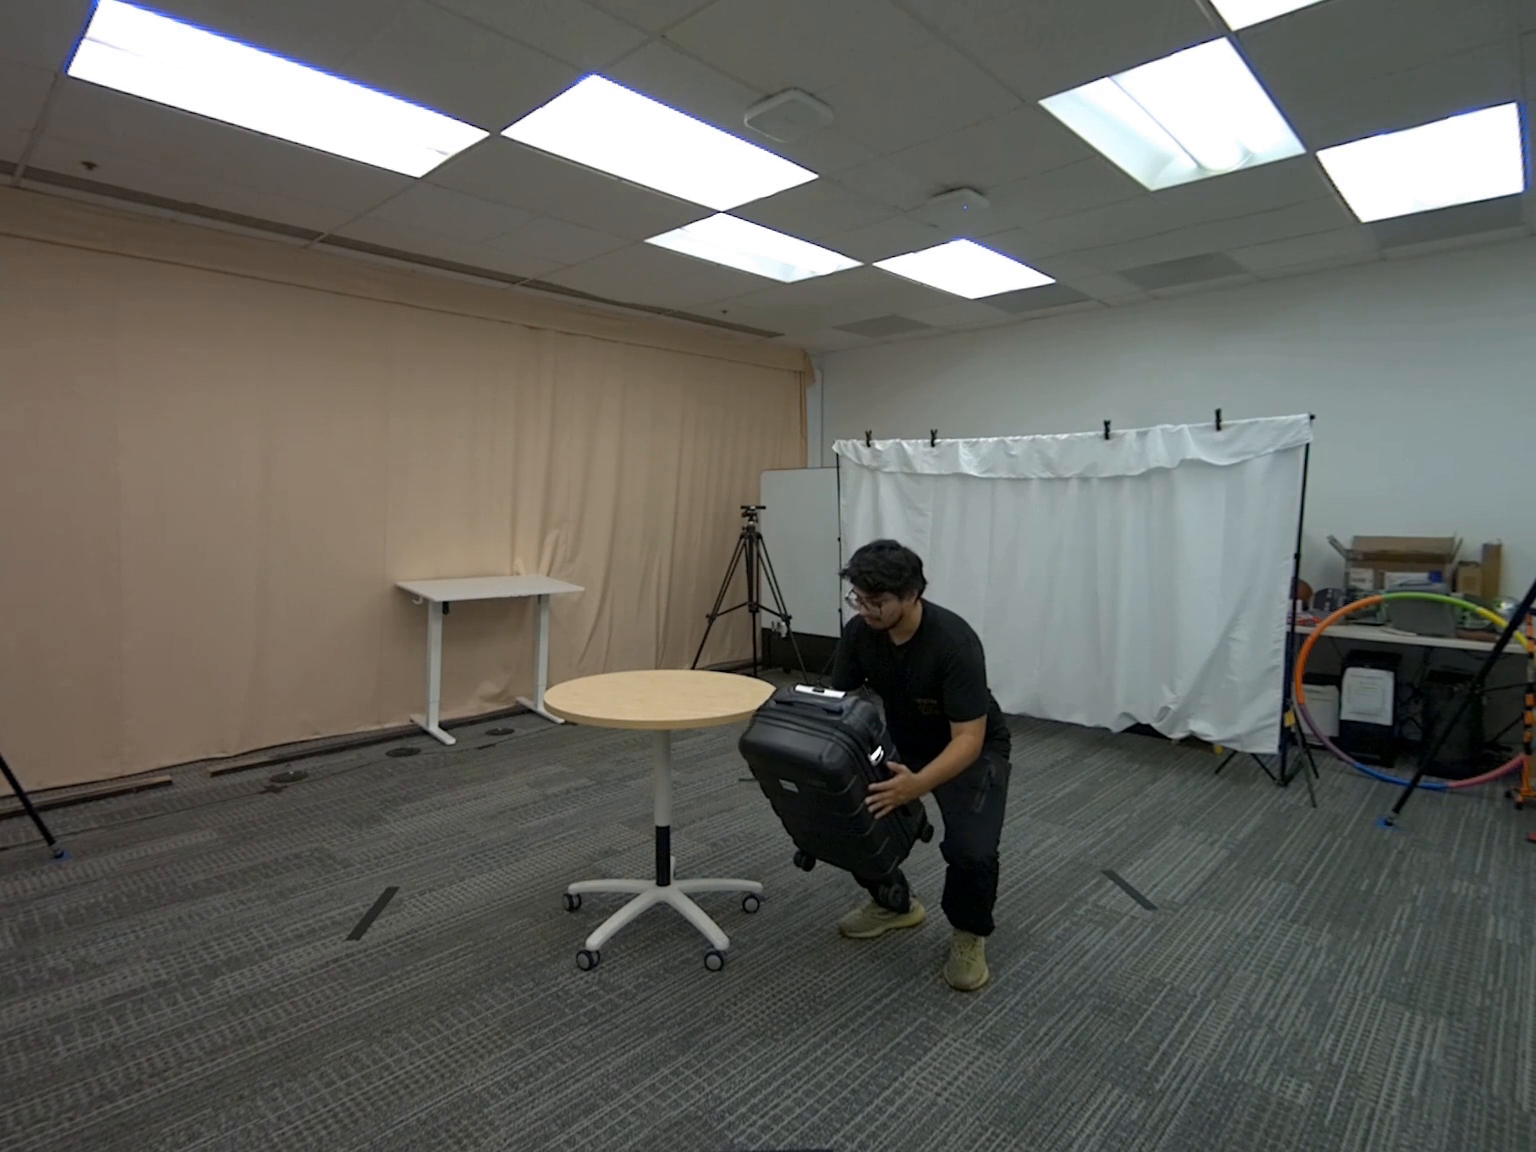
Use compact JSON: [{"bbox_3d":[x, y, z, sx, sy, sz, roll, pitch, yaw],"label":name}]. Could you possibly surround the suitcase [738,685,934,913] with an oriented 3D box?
[{"bbox_3d":[0.183,0.575,2.277,0.388,0.535,0.246,2,39,41],"label":"suitcase"}]
